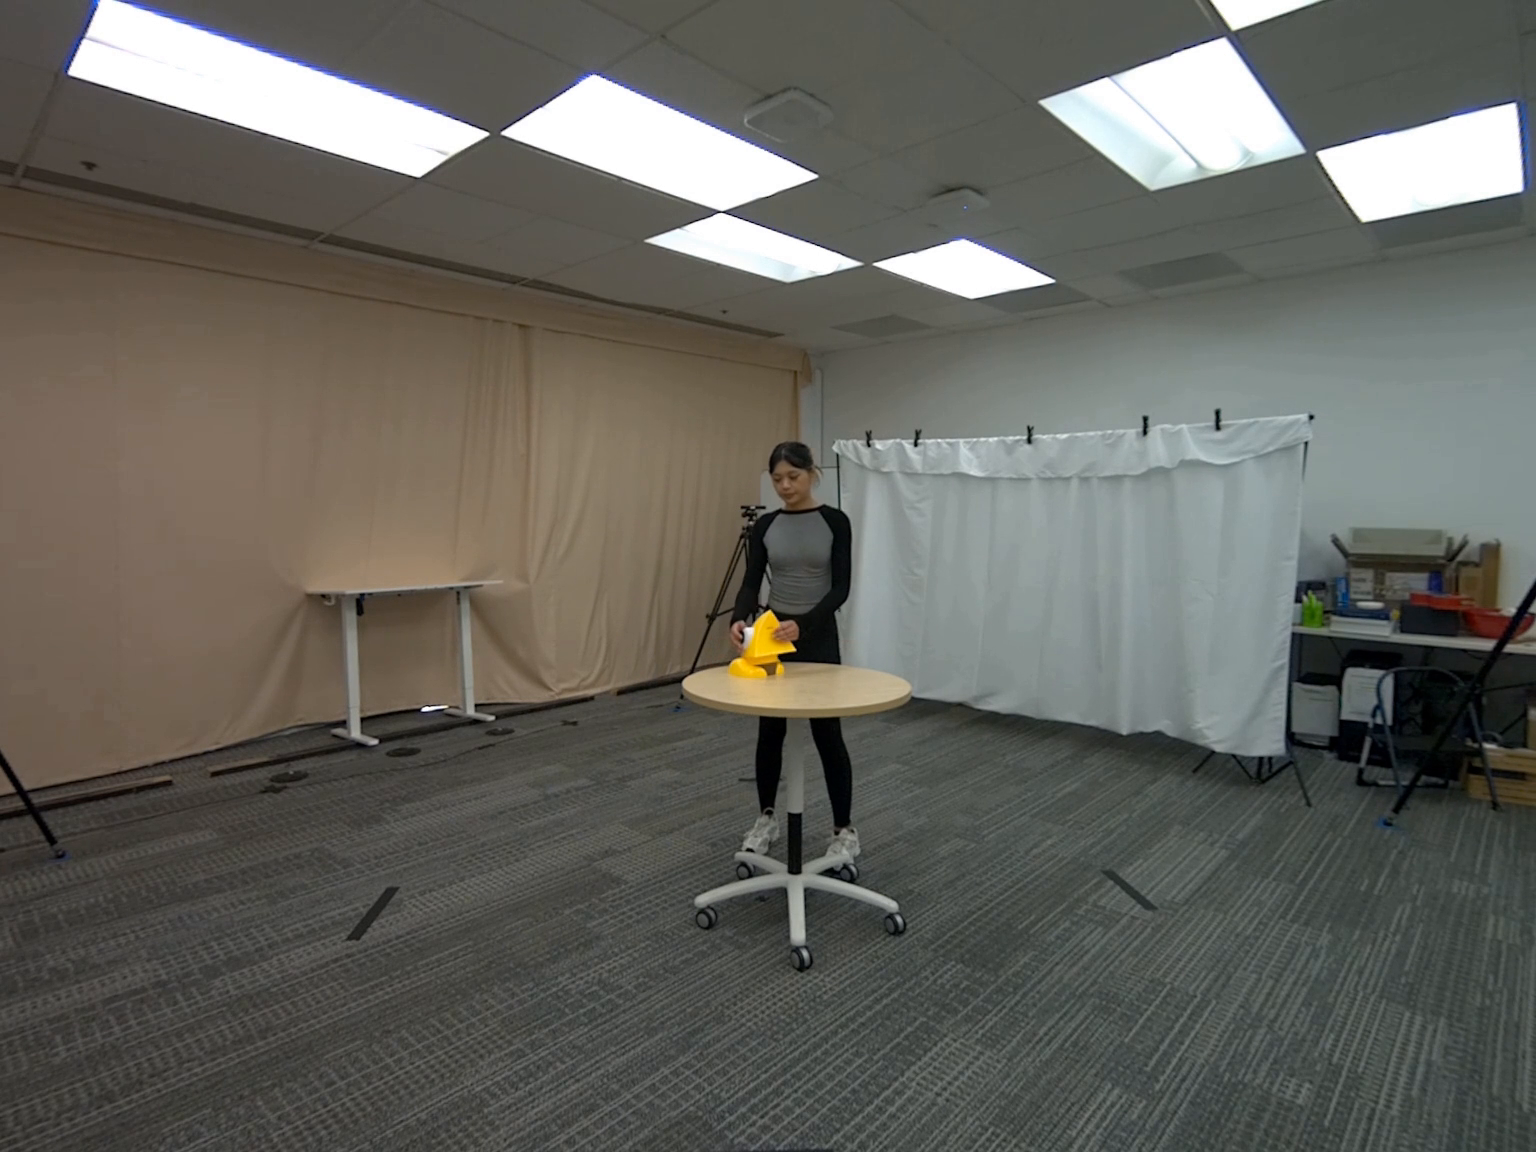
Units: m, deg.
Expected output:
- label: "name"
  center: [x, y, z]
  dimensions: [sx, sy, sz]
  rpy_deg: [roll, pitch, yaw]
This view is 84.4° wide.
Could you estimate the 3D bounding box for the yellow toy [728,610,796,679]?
- label: "yellow toy"
  center: [-0.029, 0.235, 3.026]
  dimensions: [0.198, 0.230, 0.199]
  rpy_deg: [-3, 4, -43]
